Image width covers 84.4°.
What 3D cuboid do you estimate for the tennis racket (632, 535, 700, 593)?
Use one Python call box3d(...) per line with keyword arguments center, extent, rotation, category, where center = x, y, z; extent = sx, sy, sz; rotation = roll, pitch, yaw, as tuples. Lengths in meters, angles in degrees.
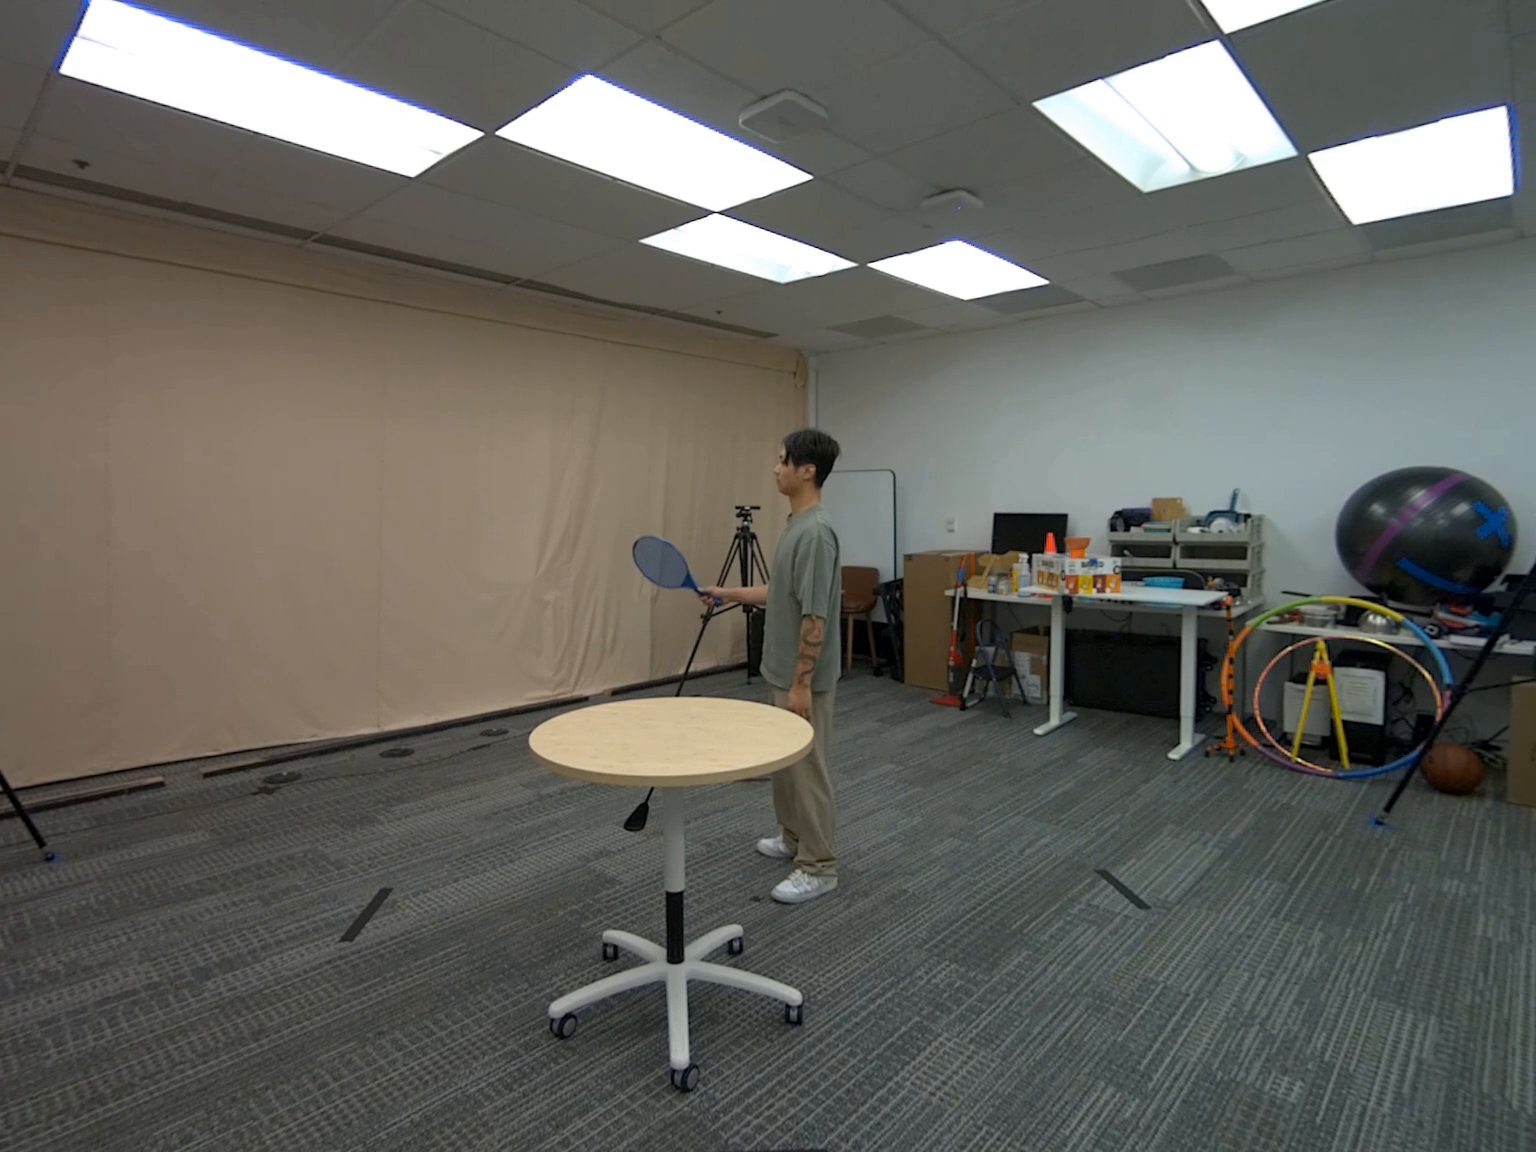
box3d(center=(-0.370, 0.006, 3.414), extent=(0.437, 0.214, 0.031), rotation=(37, 33, 8), category="tennis racket")
